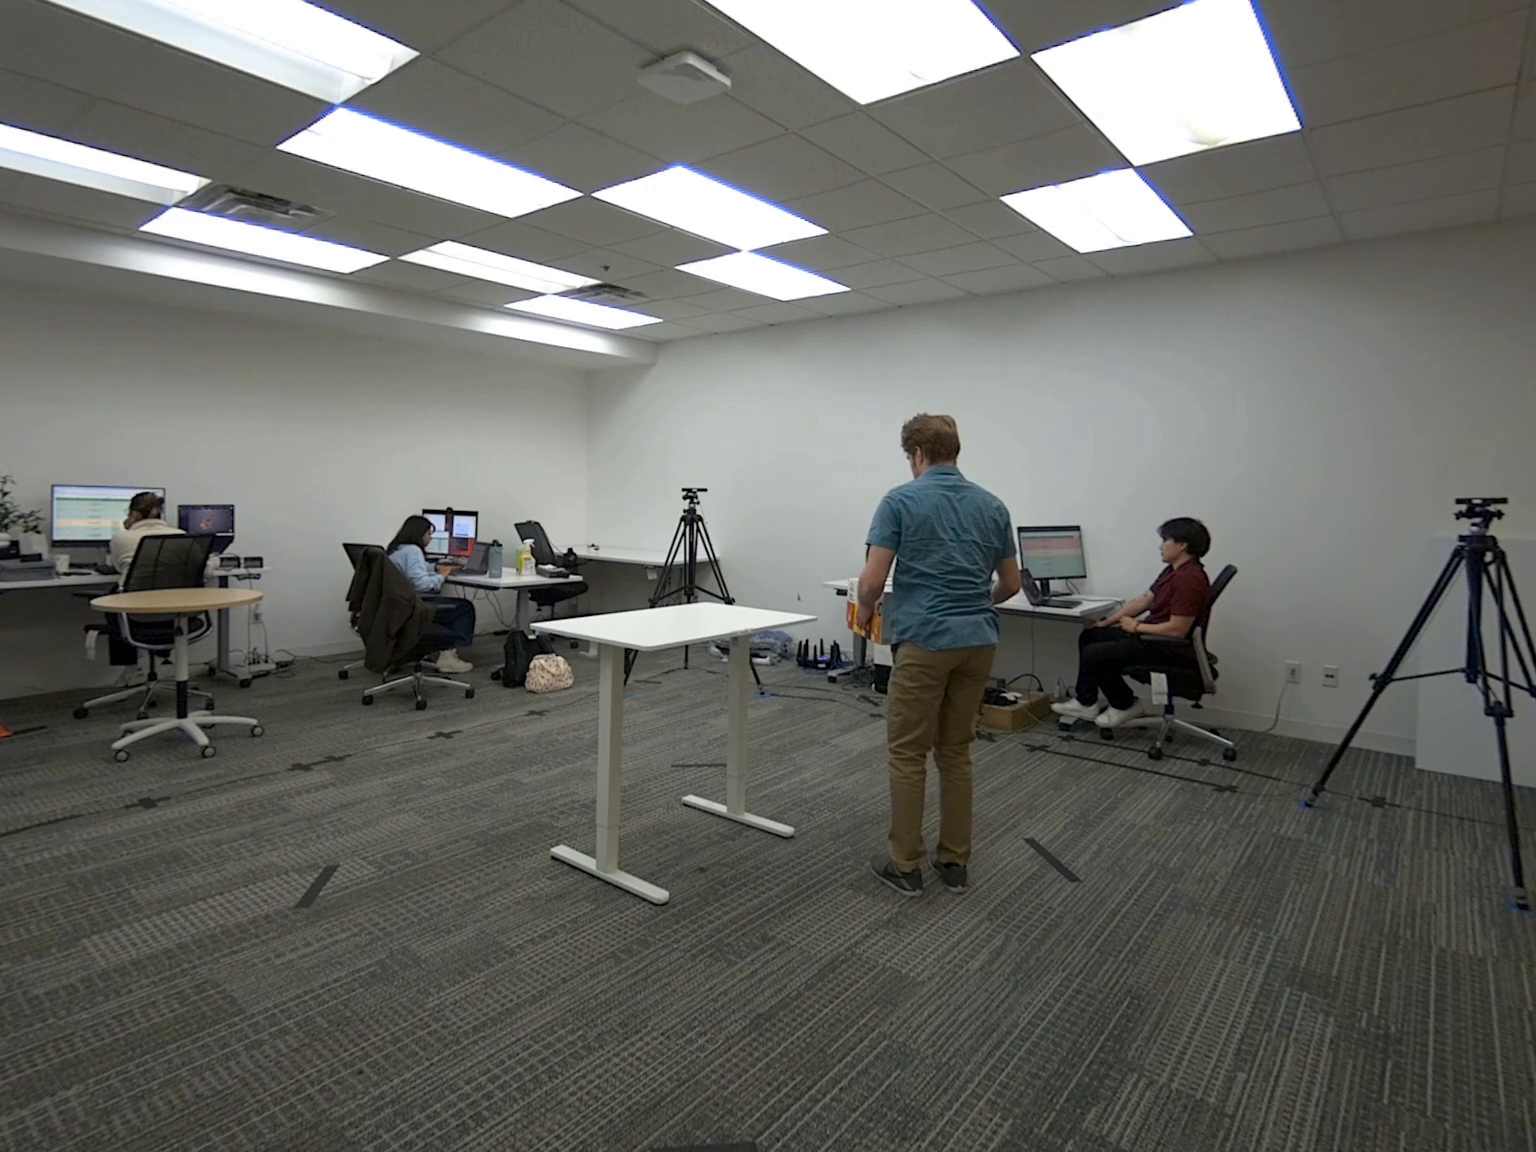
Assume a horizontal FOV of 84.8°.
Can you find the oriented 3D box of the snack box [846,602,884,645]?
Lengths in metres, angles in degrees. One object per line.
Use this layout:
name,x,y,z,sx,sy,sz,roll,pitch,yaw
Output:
snack box,0.546,0.128,3.333,0.399,0.204,0.348,0,8,-15
